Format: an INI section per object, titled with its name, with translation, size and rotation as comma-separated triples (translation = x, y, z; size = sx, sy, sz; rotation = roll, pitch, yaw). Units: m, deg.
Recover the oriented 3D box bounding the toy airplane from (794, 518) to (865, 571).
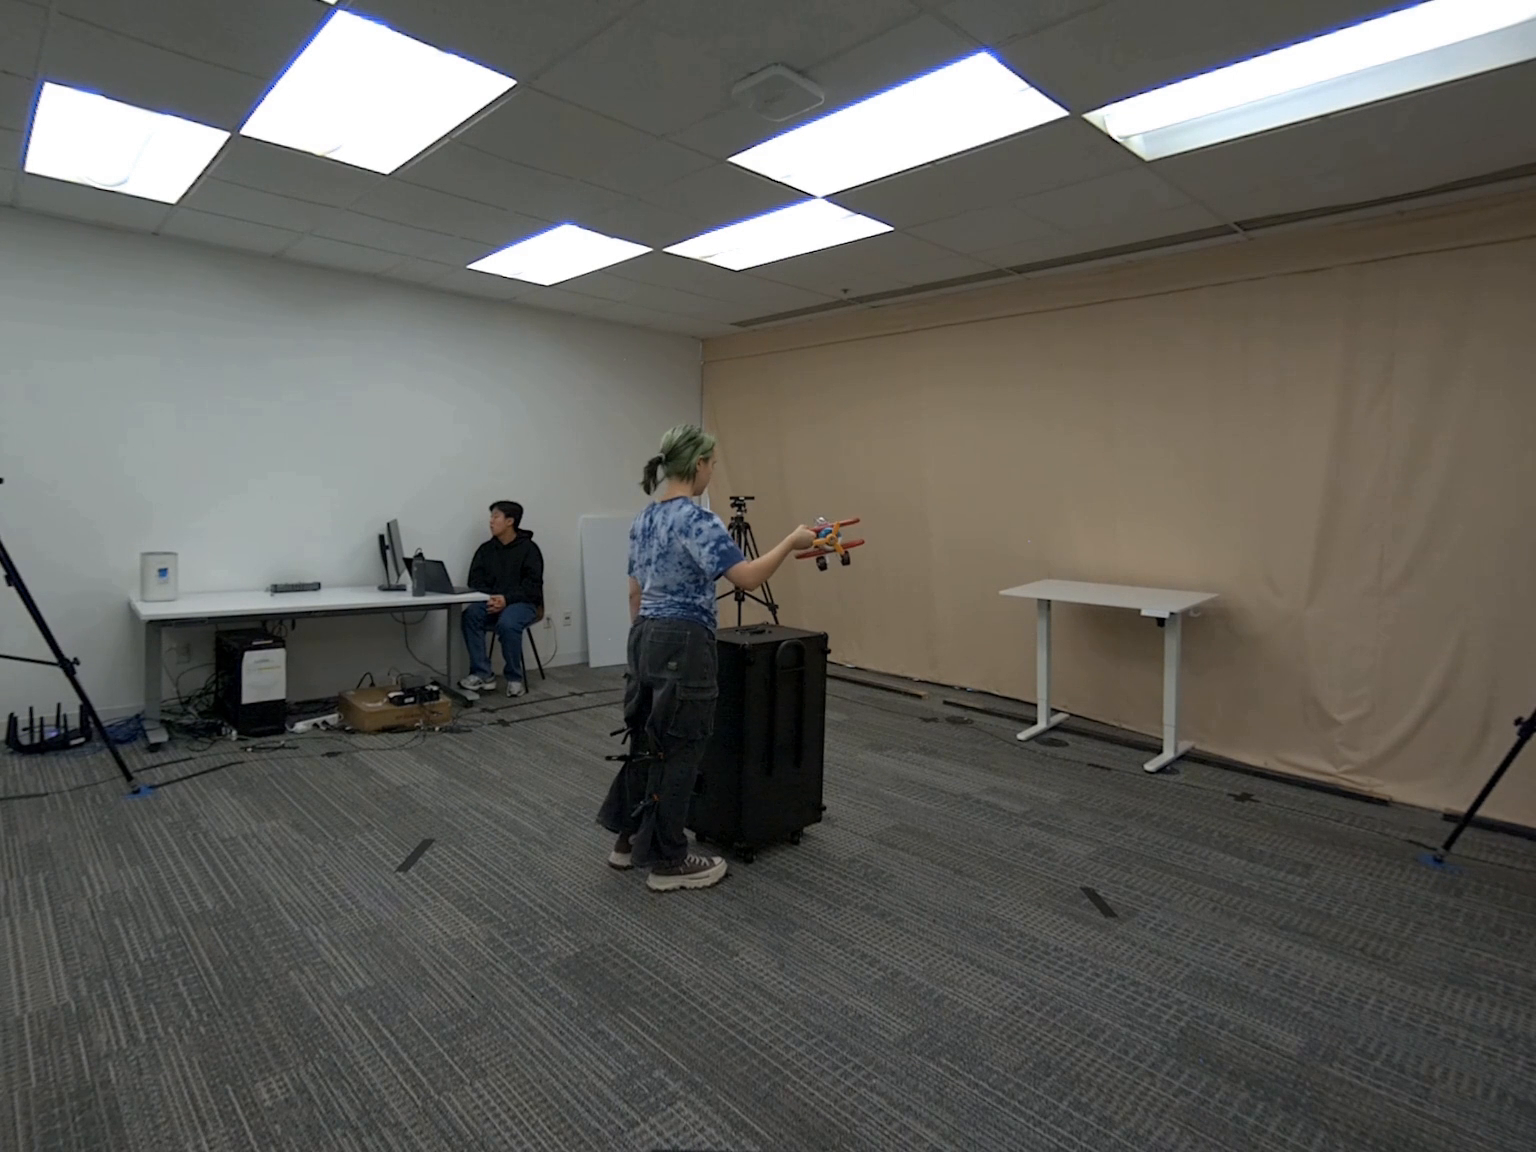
[toy airplane]
translation = 0.184, -0.122, 3.020
size = 0.248, 0.154, 0.266
rotation = -24, 24, -28
